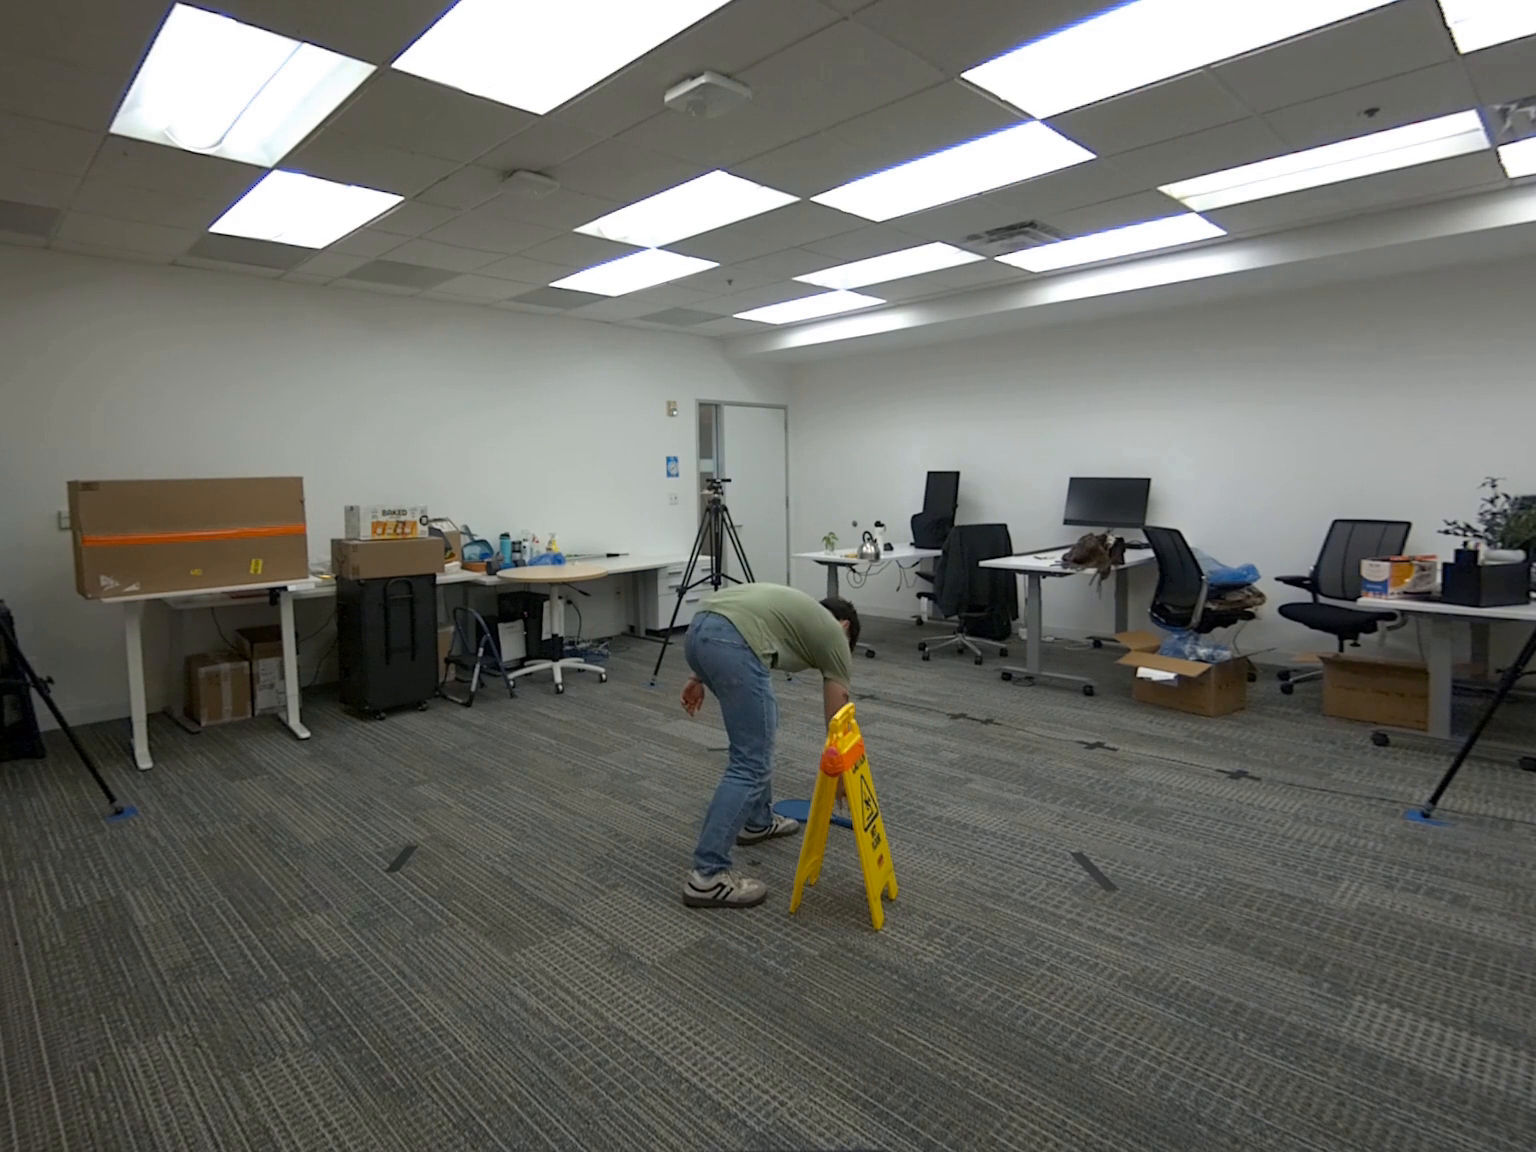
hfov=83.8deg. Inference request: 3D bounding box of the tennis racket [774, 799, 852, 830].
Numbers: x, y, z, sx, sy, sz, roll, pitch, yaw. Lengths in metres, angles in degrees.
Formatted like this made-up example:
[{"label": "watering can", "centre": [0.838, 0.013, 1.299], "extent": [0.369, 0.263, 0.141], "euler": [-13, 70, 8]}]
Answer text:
[{"label": "tennis racket", "centre": [0.195, 0.982, 3.521], "extent": [0.446, 0.031, 0.208], "euler": [3, 6, 45]}]
